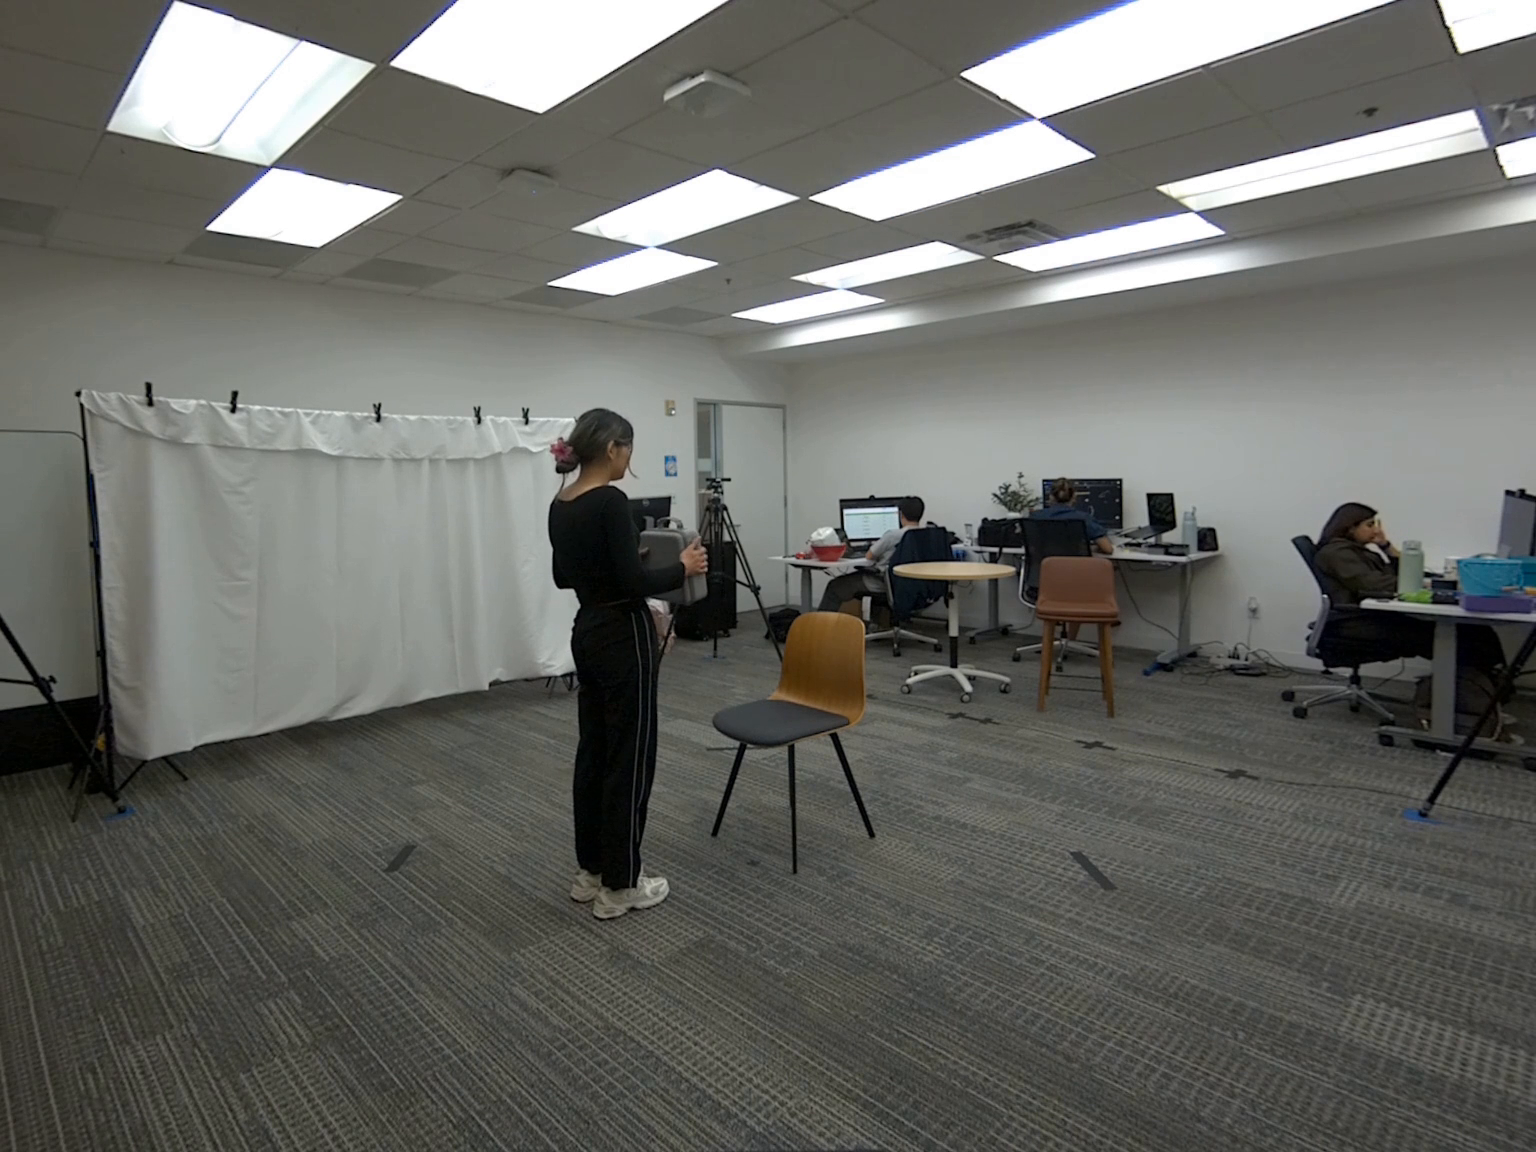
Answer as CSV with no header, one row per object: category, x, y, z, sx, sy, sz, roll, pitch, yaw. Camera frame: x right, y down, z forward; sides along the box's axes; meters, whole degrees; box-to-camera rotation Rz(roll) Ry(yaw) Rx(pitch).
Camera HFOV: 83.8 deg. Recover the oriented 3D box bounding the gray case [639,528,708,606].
gray case,-0.339,-0.041,3.001,0.102,0.258,0.265,-11,11,-35
